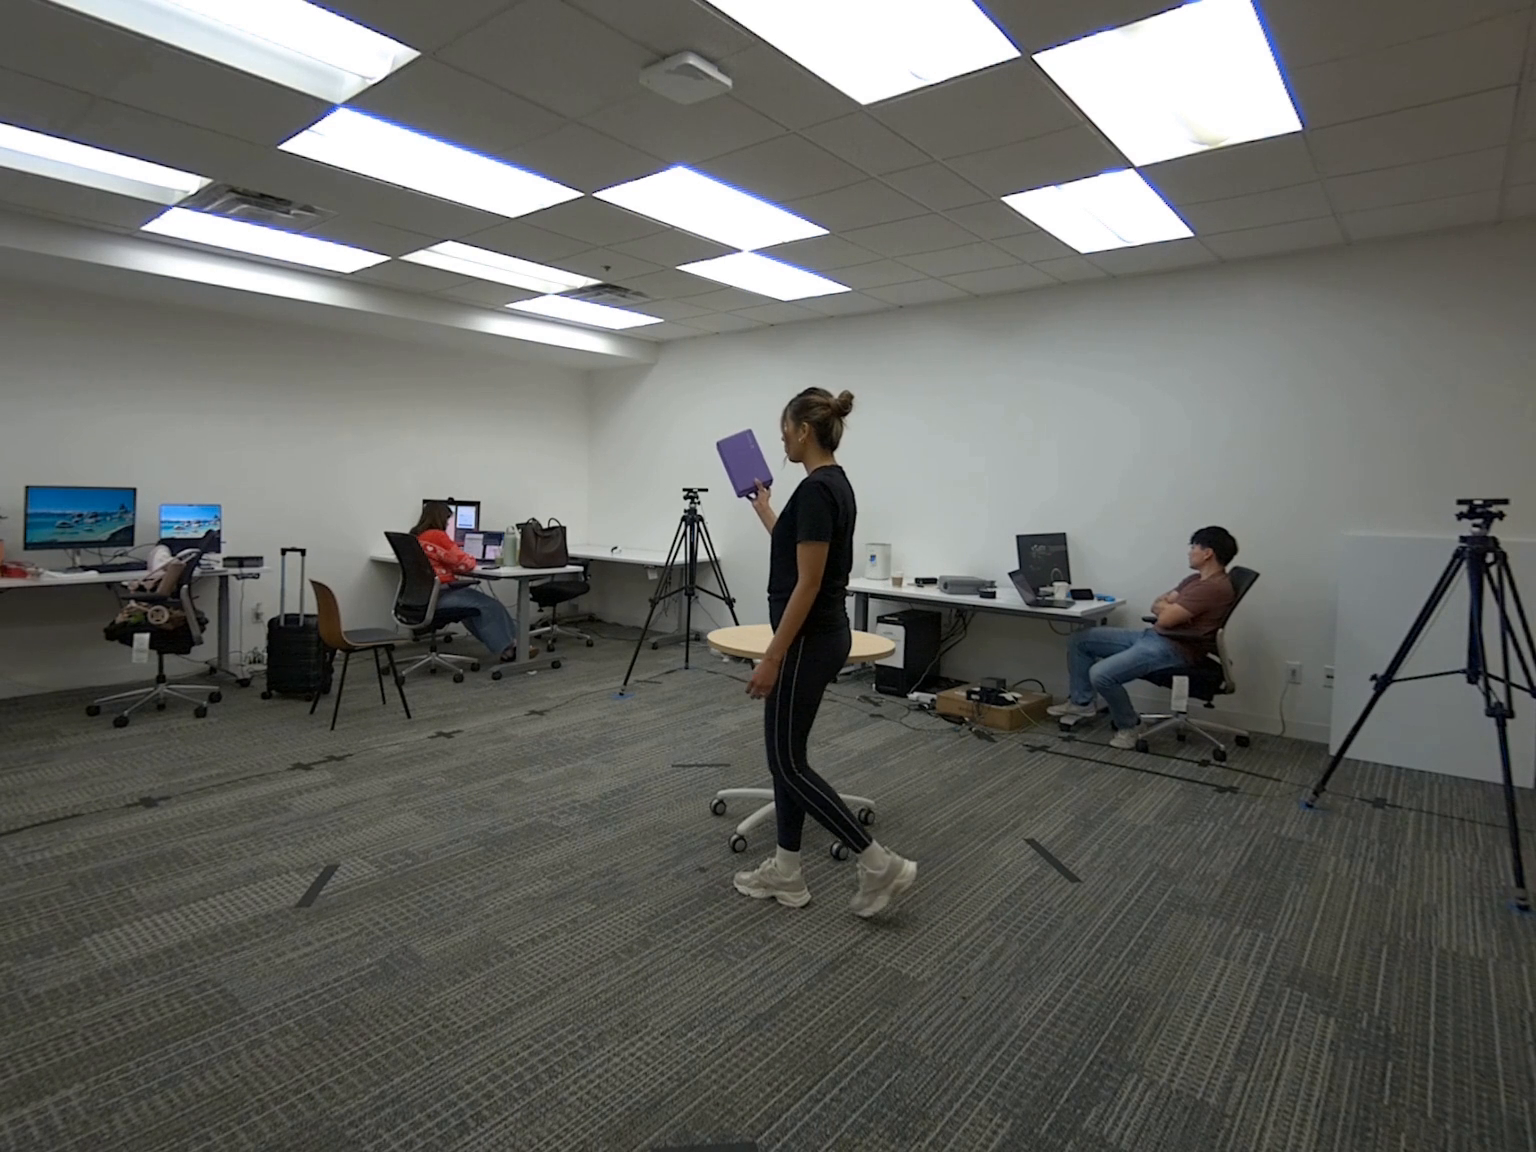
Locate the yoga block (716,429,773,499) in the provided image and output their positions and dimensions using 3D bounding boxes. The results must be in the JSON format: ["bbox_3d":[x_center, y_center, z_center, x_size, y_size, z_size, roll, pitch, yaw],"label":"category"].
[{"bbox_3d":[-0.093,-0.438,3.255,0.149,0.232,0.075,-23,-10,-1],"label":"yoga block"}]
